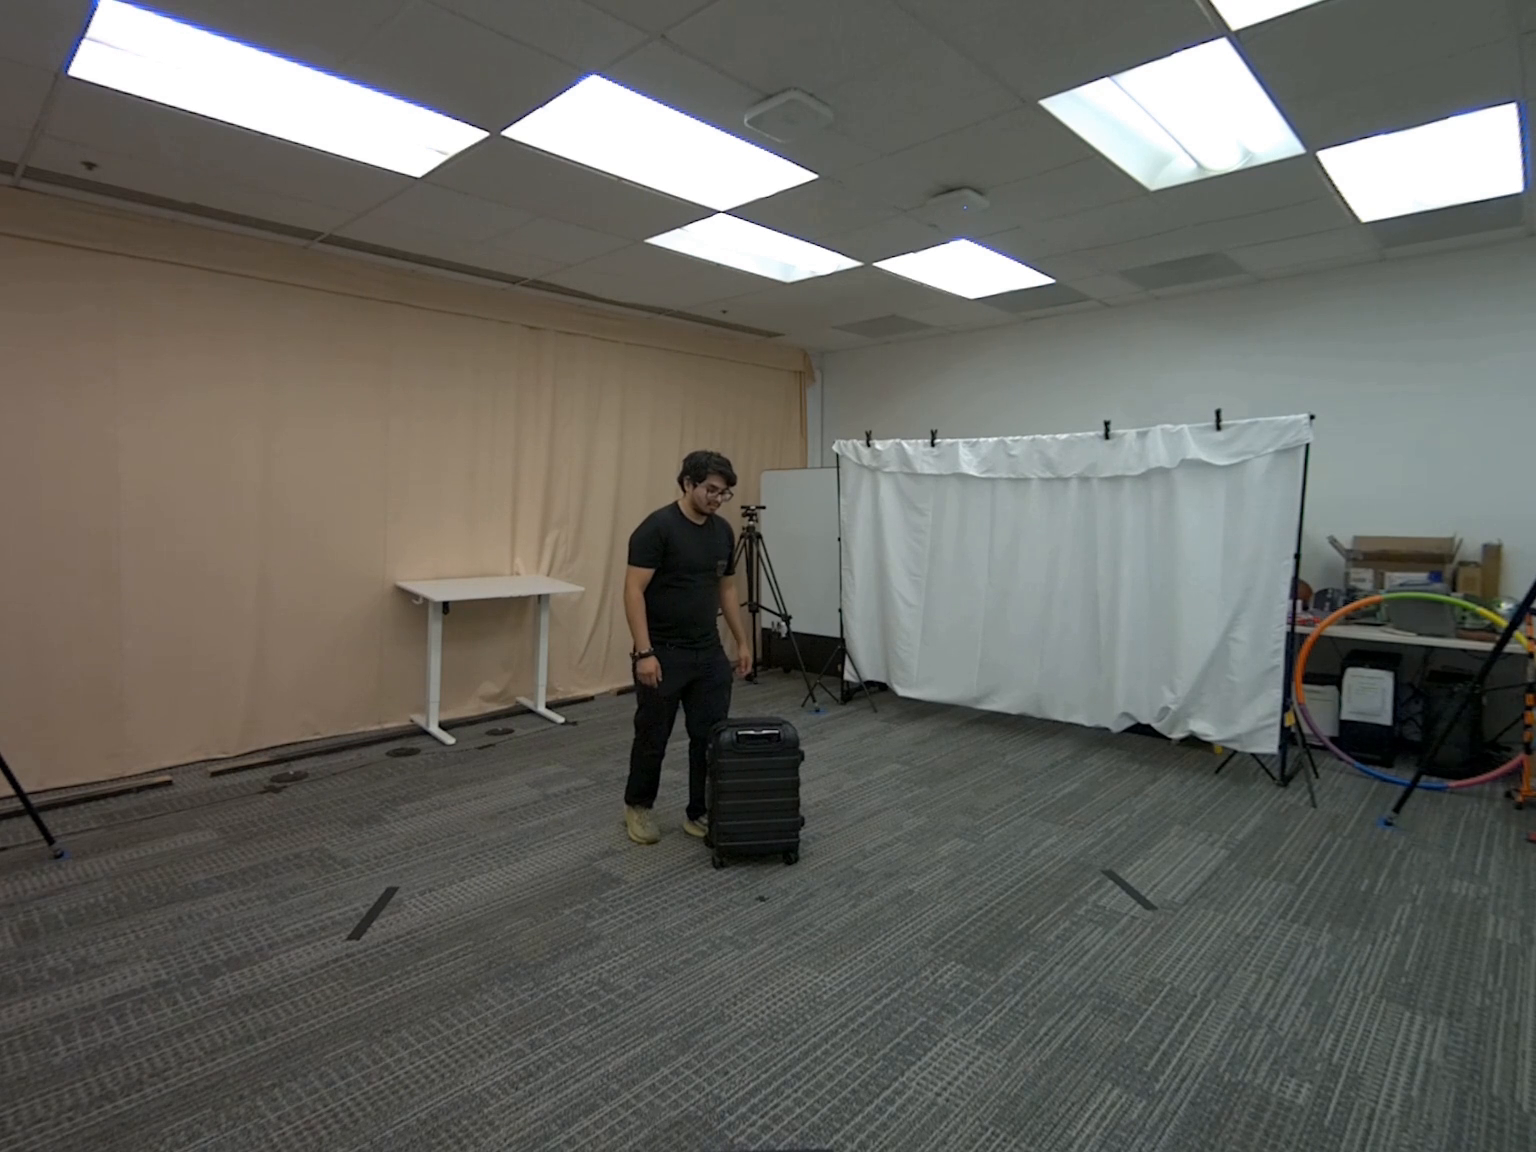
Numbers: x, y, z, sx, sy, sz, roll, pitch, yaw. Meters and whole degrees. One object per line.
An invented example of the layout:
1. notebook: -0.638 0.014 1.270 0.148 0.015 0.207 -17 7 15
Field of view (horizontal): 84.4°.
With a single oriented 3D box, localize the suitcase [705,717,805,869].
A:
1. suitcase: -0.057 0.836 3.329 0.372 0.548 0.251 -1 3 -8
